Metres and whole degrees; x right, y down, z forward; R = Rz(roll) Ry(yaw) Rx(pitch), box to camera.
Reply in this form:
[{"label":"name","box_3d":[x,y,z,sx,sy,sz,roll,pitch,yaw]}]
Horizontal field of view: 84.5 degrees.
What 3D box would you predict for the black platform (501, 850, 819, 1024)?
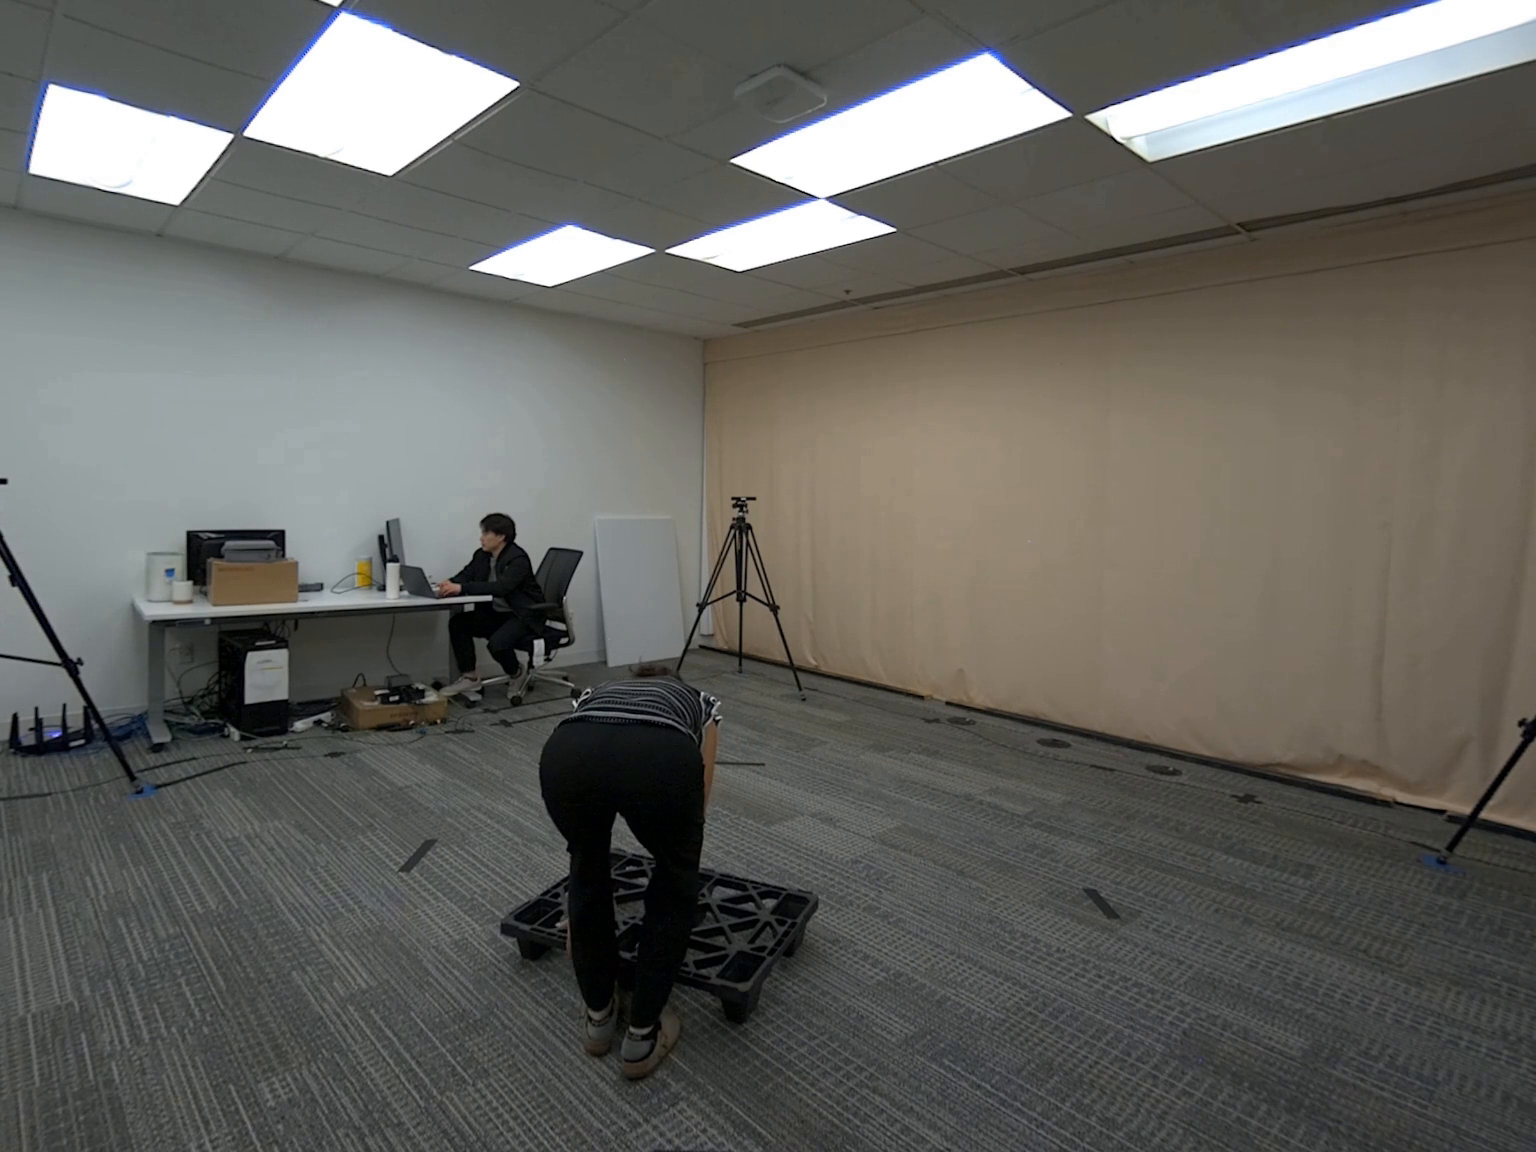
[{"label":"black platform","box_3d":[-0.320,1.081,2.589,0.820,0.143,0.596,4,6,23]}]
